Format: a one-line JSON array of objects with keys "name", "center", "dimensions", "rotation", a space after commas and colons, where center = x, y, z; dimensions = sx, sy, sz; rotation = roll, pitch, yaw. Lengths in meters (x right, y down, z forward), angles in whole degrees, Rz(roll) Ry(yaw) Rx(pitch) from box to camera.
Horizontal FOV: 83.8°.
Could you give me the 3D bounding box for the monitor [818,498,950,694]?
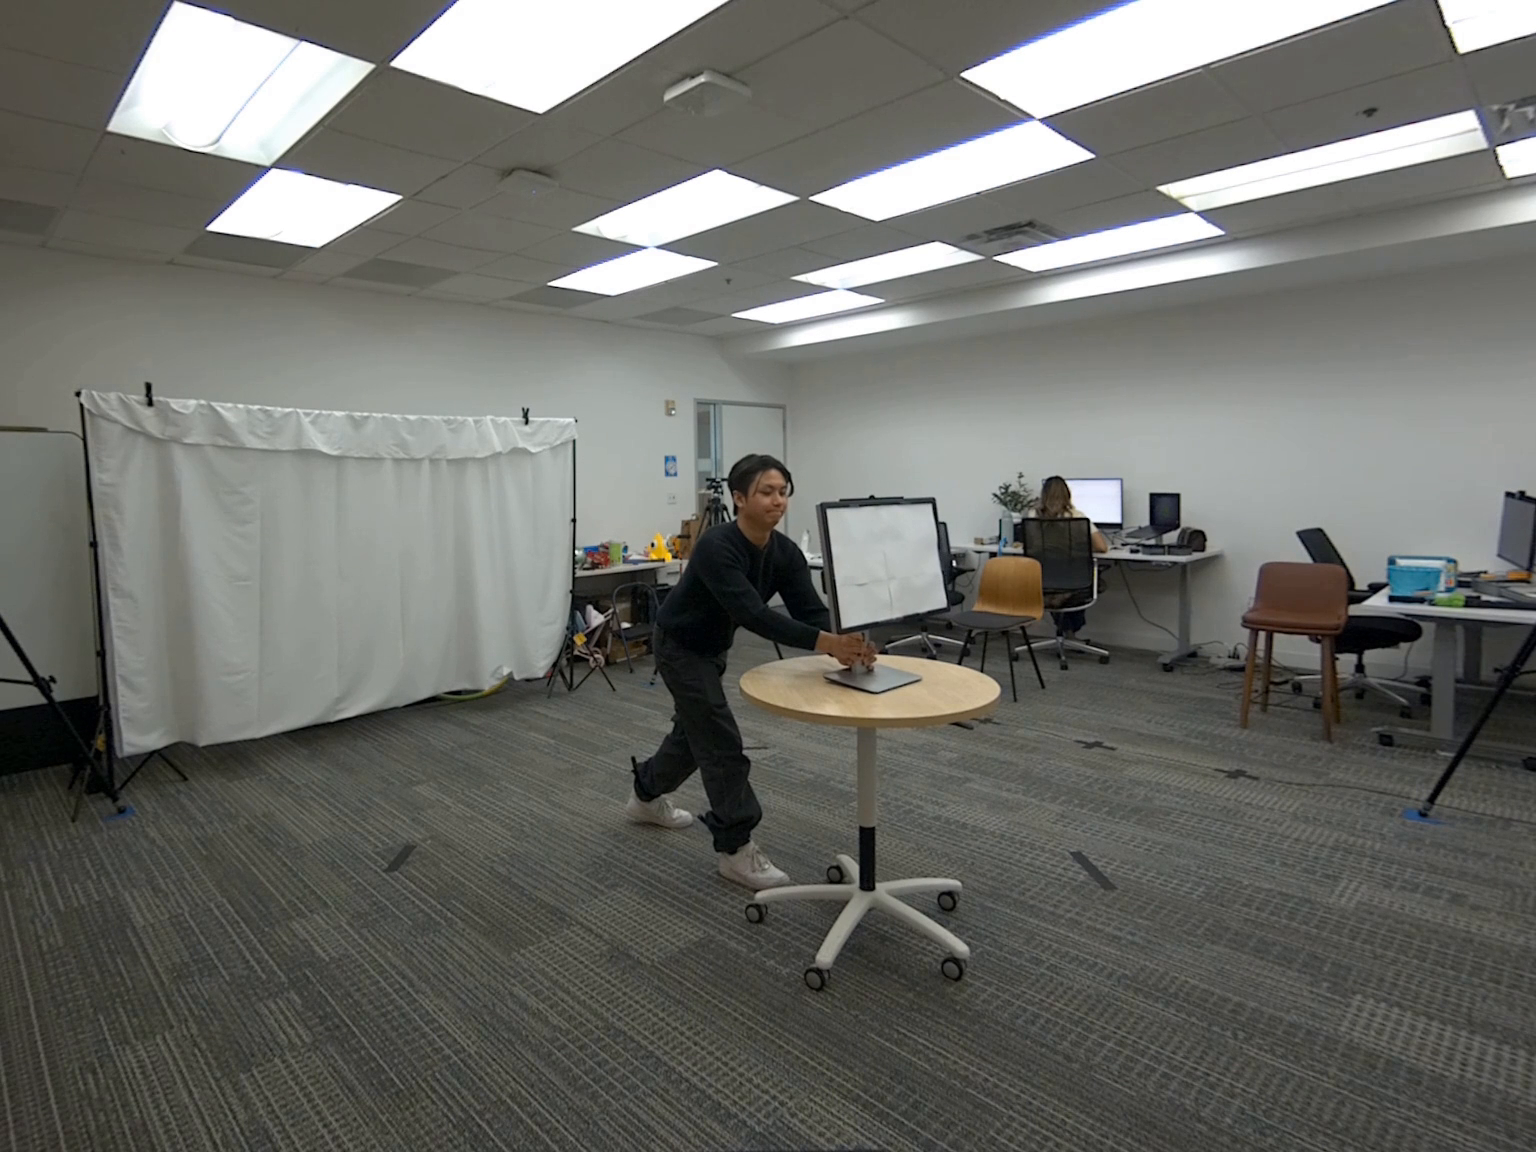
[{"name": "monitor", "center": [0.330, 0.047, 2.537], "dimensions": [0.193, 0.520, 0.525], "rotation": [6, 8, 42]}]
